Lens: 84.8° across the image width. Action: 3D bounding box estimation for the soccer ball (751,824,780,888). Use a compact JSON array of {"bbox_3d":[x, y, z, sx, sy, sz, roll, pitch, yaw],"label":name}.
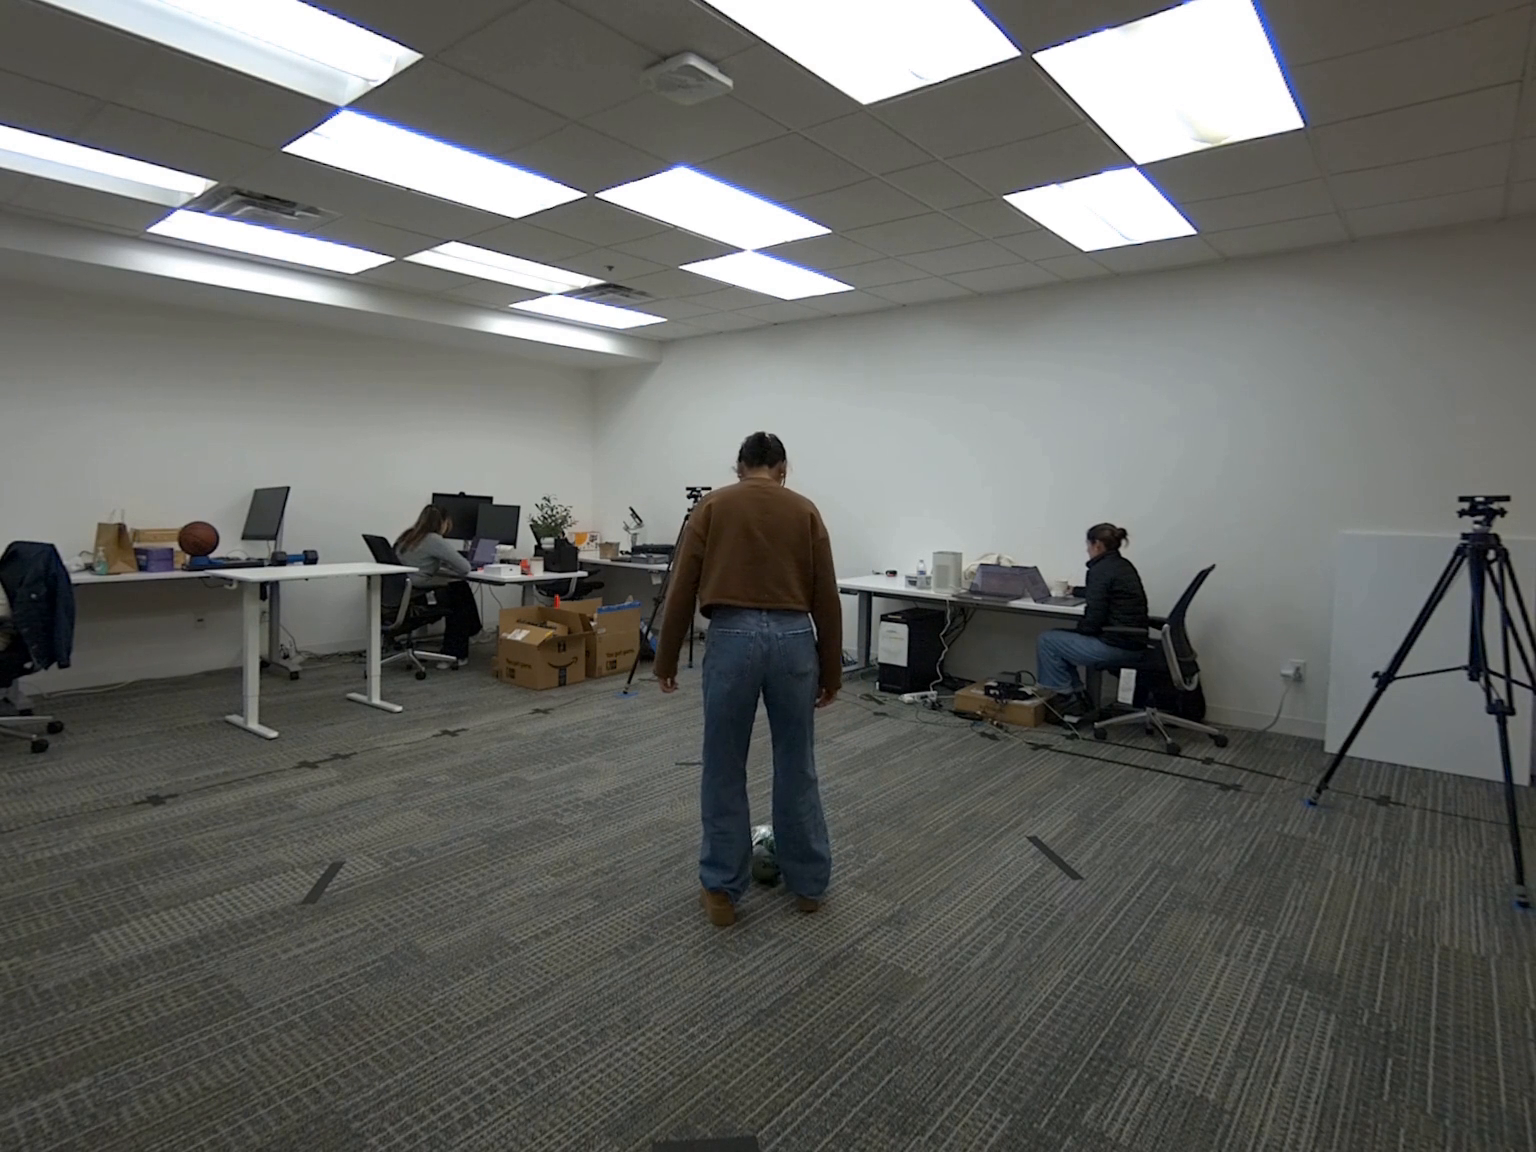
[{"bbox_3d":[-0.016,0.981,3.033,0.187,0.187,0.188,1,4,-2],"label":"soccer ball"}]
